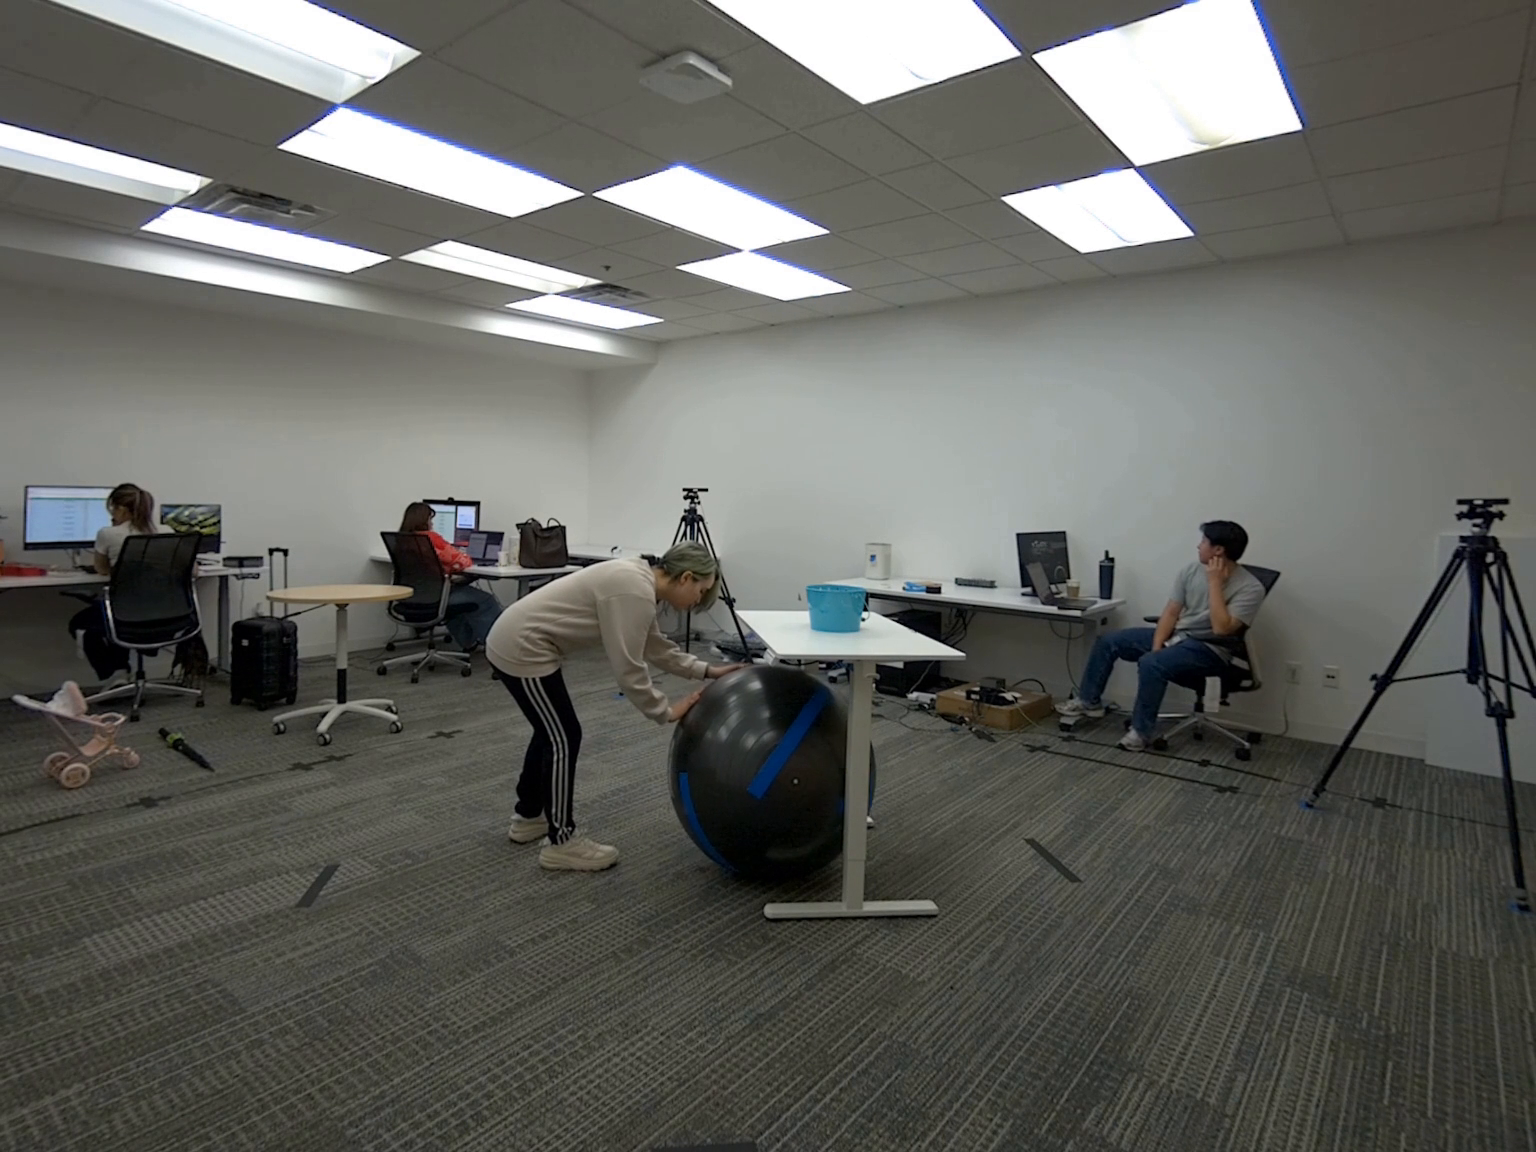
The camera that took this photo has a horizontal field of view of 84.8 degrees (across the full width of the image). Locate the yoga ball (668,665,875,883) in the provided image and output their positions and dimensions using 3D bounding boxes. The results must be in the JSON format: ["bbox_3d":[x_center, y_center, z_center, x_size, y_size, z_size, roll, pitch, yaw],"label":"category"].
[{"bbox_3d":[0.000,0.706,3.116,0.757,0.755,0.762,1,4,-2],"label":"yoga ball"}]
